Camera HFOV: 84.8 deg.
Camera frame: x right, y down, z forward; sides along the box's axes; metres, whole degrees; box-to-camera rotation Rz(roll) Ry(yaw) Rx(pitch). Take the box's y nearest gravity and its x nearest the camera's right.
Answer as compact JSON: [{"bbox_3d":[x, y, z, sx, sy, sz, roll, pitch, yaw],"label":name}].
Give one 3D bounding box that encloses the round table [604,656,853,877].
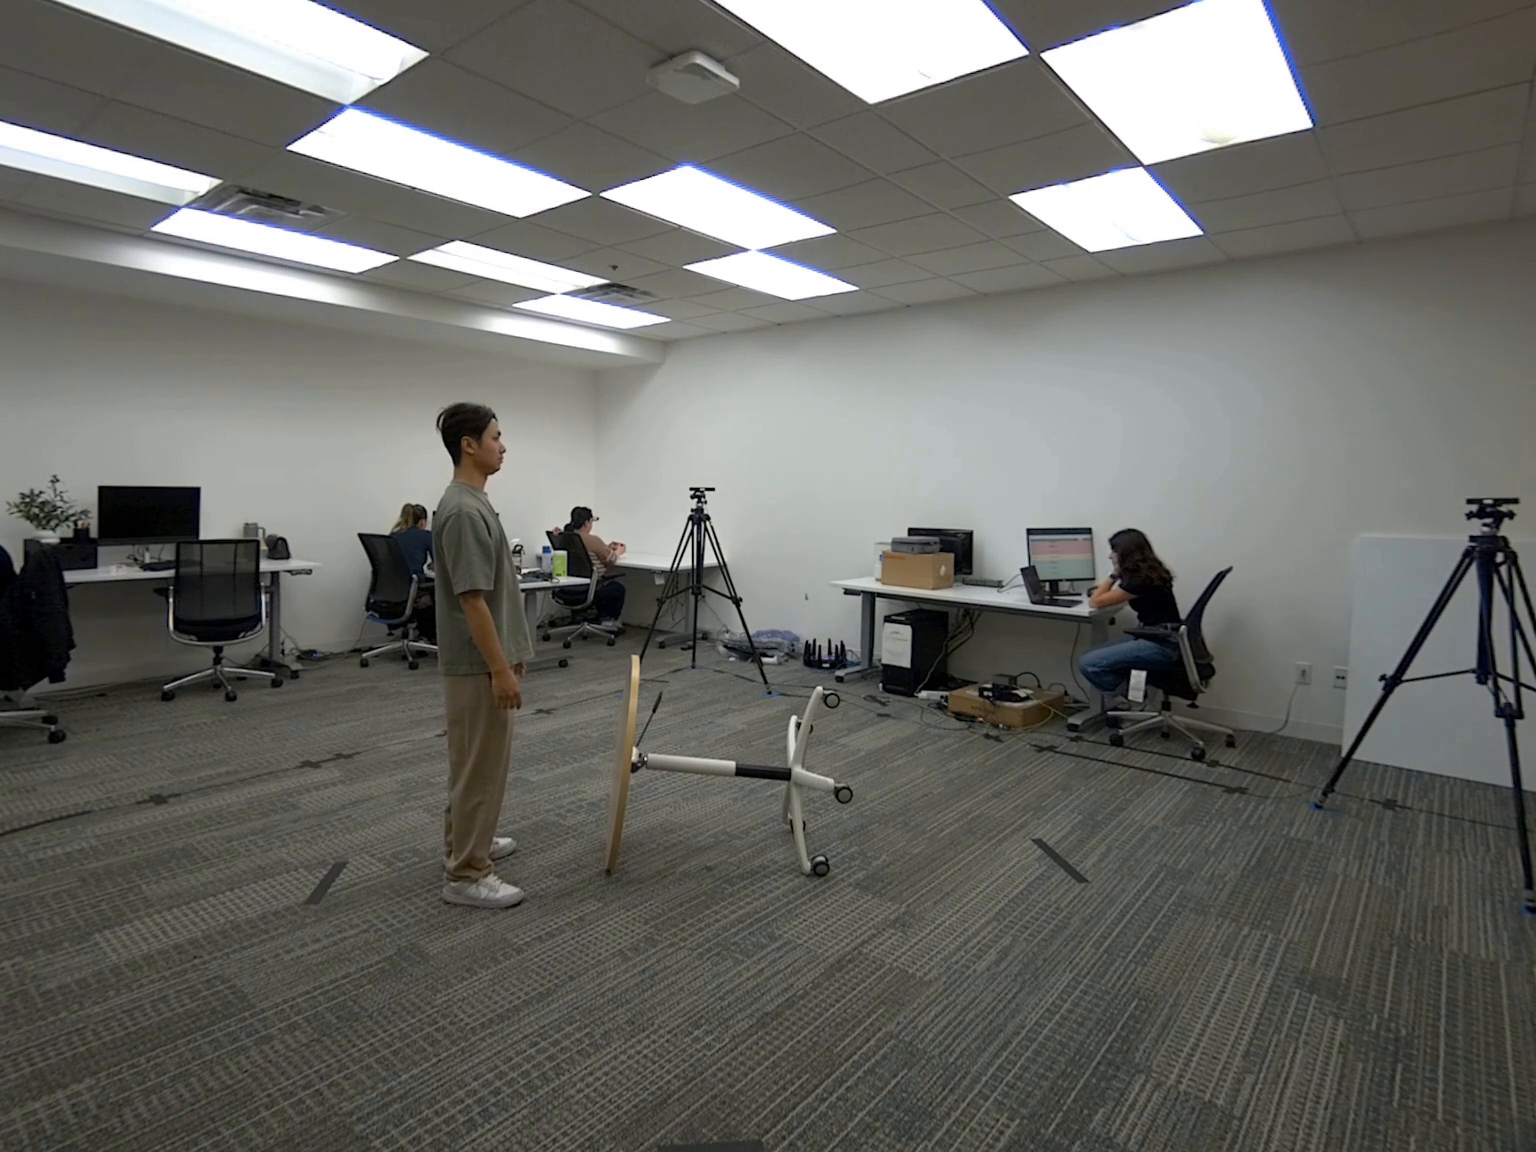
[{"bbox_3d":[-0.175,0.717,3.203,0.777,0.784,0.796,6,3,-11],"label":"round table"}]
